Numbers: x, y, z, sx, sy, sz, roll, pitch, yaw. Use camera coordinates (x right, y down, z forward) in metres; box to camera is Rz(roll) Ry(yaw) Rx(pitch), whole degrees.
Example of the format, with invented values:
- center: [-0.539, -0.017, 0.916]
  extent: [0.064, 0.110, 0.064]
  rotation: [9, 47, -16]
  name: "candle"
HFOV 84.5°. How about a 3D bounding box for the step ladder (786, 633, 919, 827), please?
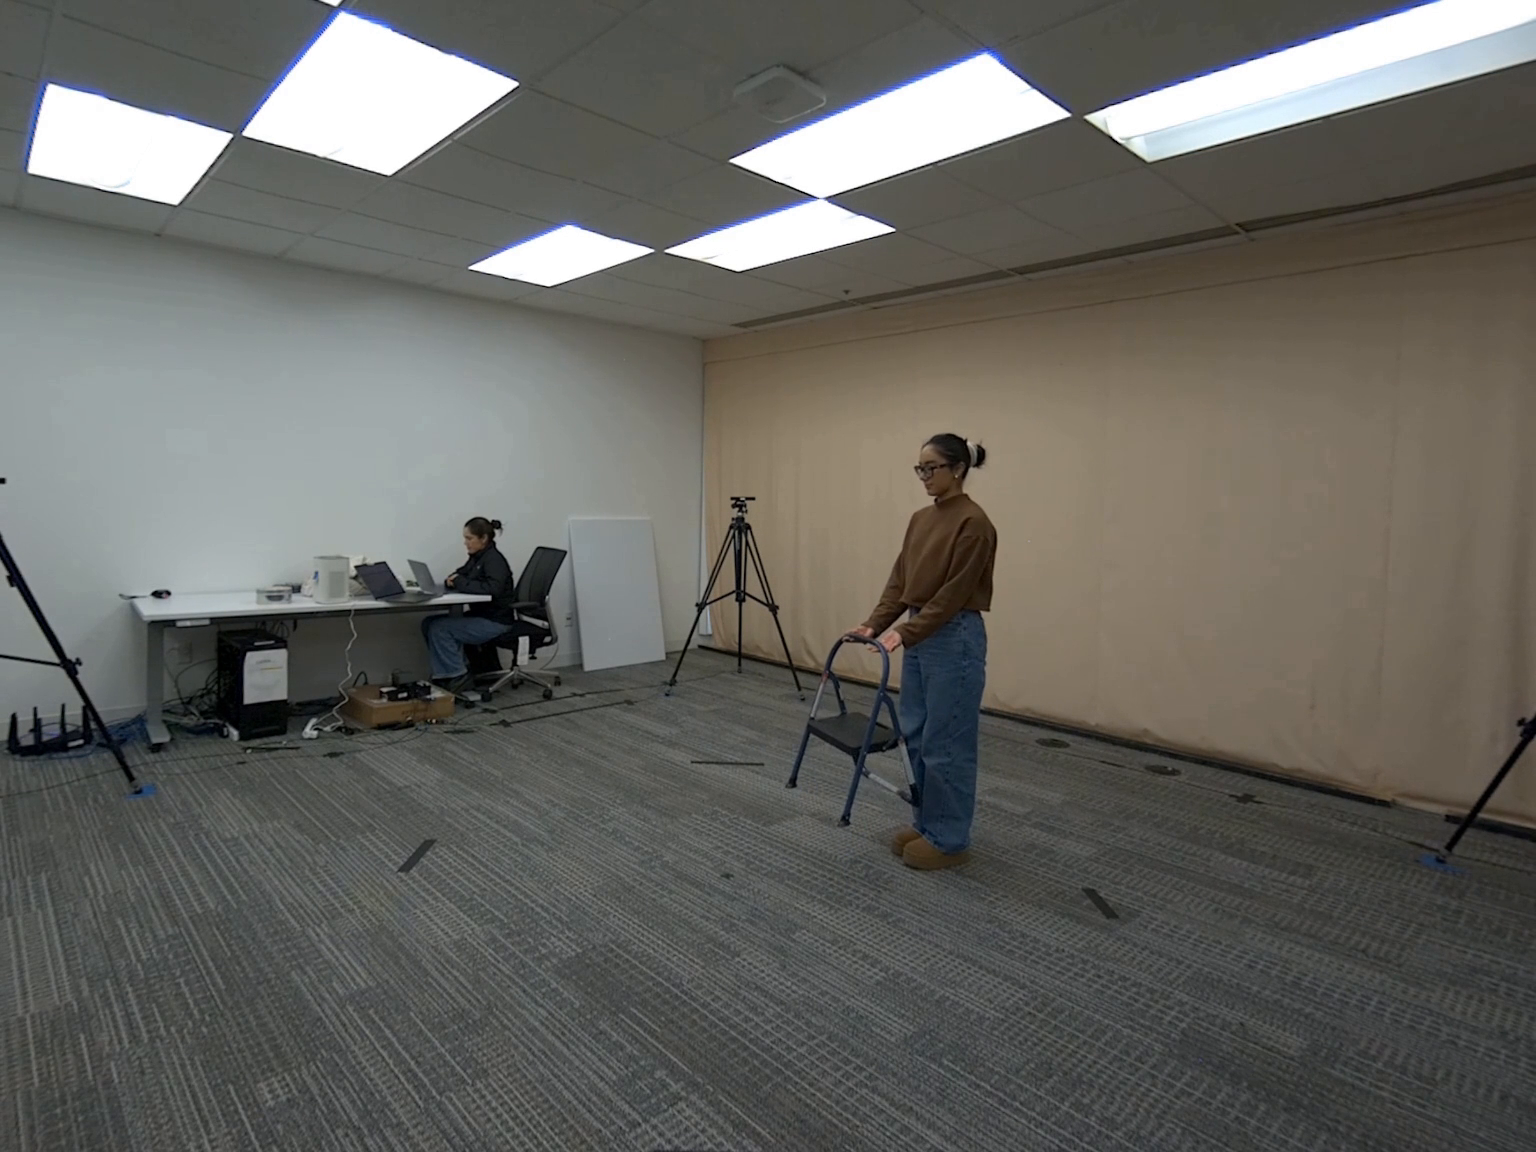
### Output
- center: [0.305, 0.540, 3.153]
  extent: [0.343, 0.603, 0.440]
  rotation: [-4, 7, -26]
  name: "step ladder"
